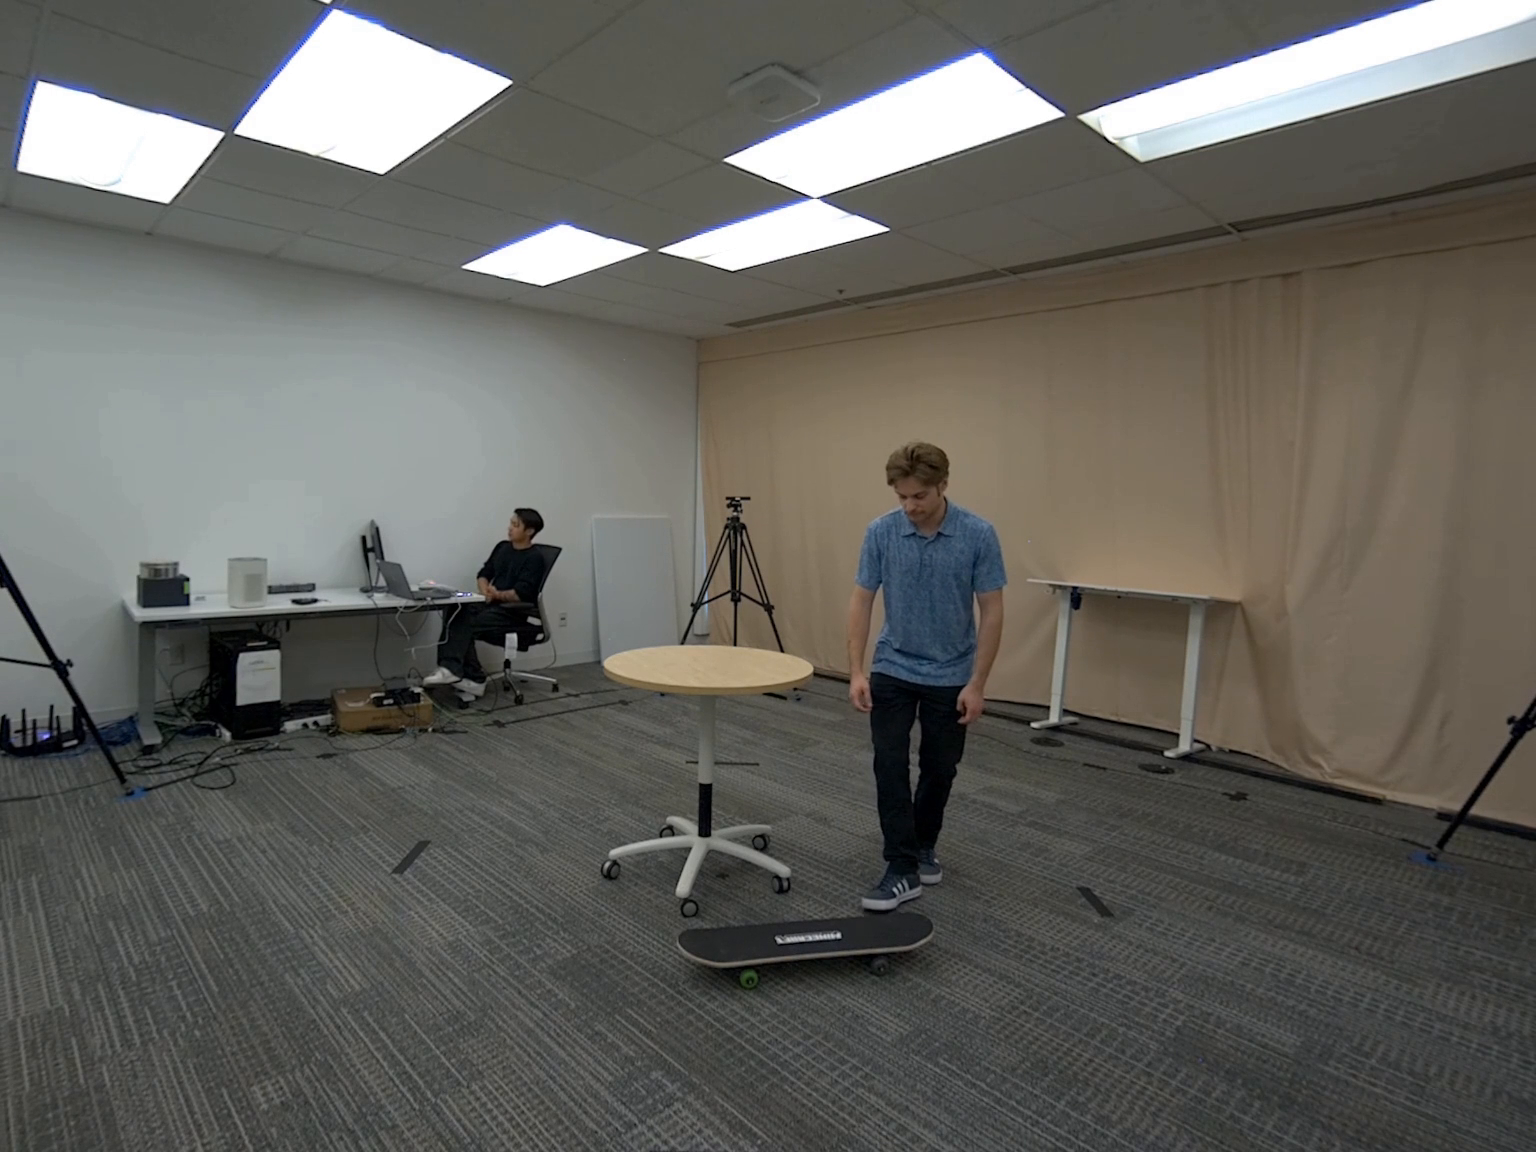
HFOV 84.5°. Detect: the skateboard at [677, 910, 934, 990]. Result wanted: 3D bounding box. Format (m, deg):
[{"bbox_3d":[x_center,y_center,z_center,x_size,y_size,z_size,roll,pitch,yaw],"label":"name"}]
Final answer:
[{"bbox_3d":[0.115,1.114,2.505,0.778,0.110,0.196,0,5,-12],"label":"skateboard"}]
